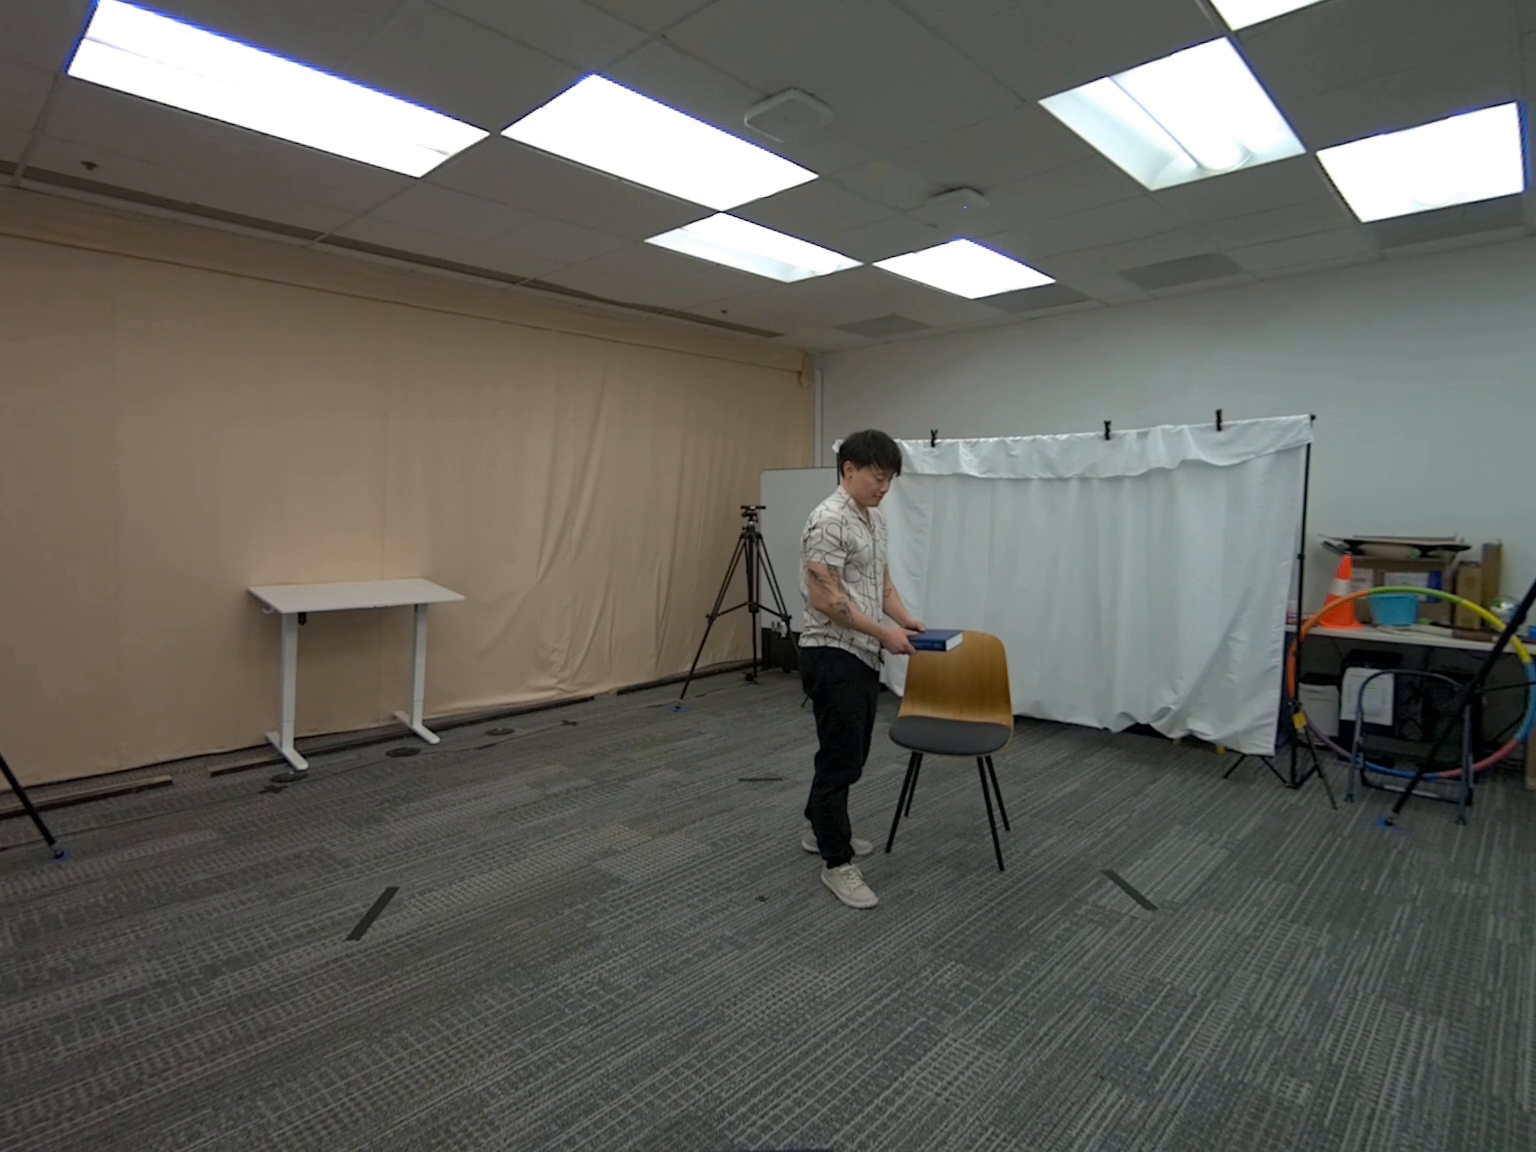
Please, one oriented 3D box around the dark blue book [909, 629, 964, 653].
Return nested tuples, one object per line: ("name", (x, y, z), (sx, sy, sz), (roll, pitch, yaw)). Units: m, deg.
("dark blue book", (0.531, 0.226, 2.939), (0.252, 0.045, 0.159), (-2, 7, 35))
